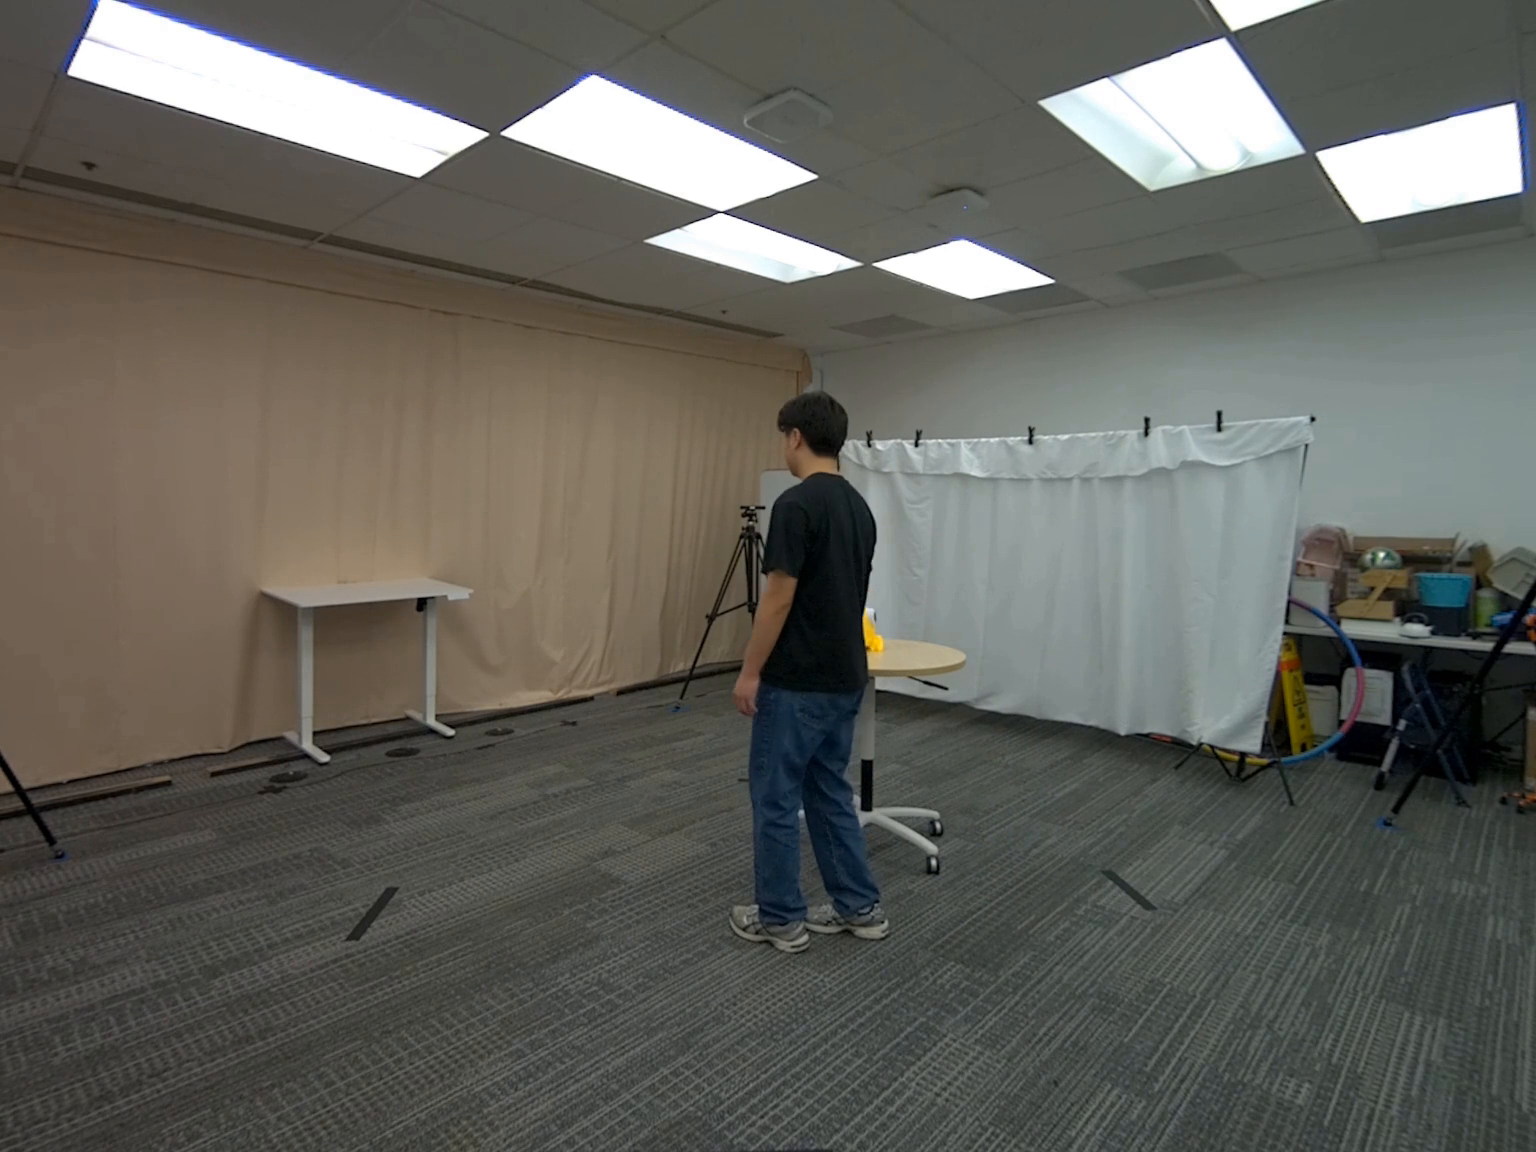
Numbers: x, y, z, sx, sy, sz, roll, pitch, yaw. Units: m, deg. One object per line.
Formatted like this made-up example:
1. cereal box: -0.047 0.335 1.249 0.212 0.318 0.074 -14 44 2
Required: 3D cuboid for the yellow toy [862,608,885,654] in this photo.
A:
1. yellow toy: 0.382 0.186 3.517 0.203 0.230 0.195 -1 3 -10
